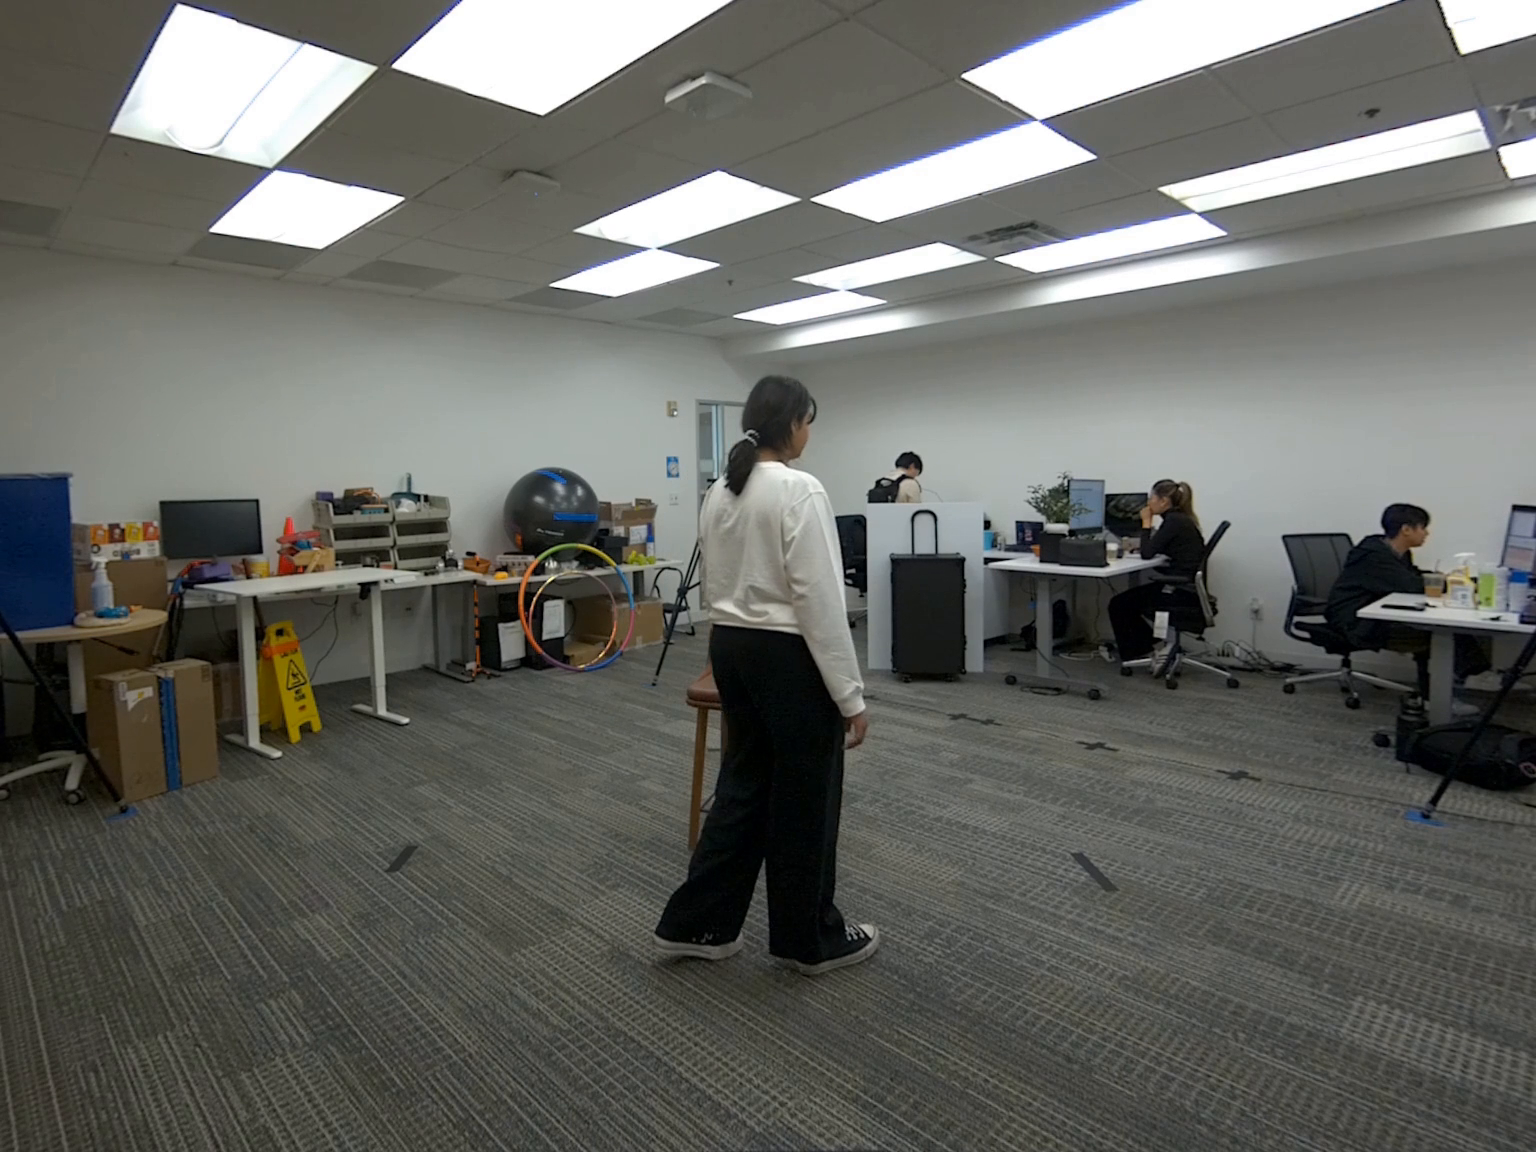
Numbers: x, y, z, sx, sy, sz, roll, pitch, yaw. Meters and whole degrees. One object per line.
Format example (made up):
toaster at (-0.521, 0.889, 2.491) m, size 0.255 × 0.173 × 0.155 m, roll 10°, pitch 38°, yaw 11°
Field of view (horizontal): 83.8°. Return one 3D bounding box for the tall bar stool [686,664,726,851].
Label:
tall bar stool at (-0.060, 0.582, 3.369) m, size 0.463 × 0.888 × 0.462 m, roll 0°, pitch 2°, yaw 14°
